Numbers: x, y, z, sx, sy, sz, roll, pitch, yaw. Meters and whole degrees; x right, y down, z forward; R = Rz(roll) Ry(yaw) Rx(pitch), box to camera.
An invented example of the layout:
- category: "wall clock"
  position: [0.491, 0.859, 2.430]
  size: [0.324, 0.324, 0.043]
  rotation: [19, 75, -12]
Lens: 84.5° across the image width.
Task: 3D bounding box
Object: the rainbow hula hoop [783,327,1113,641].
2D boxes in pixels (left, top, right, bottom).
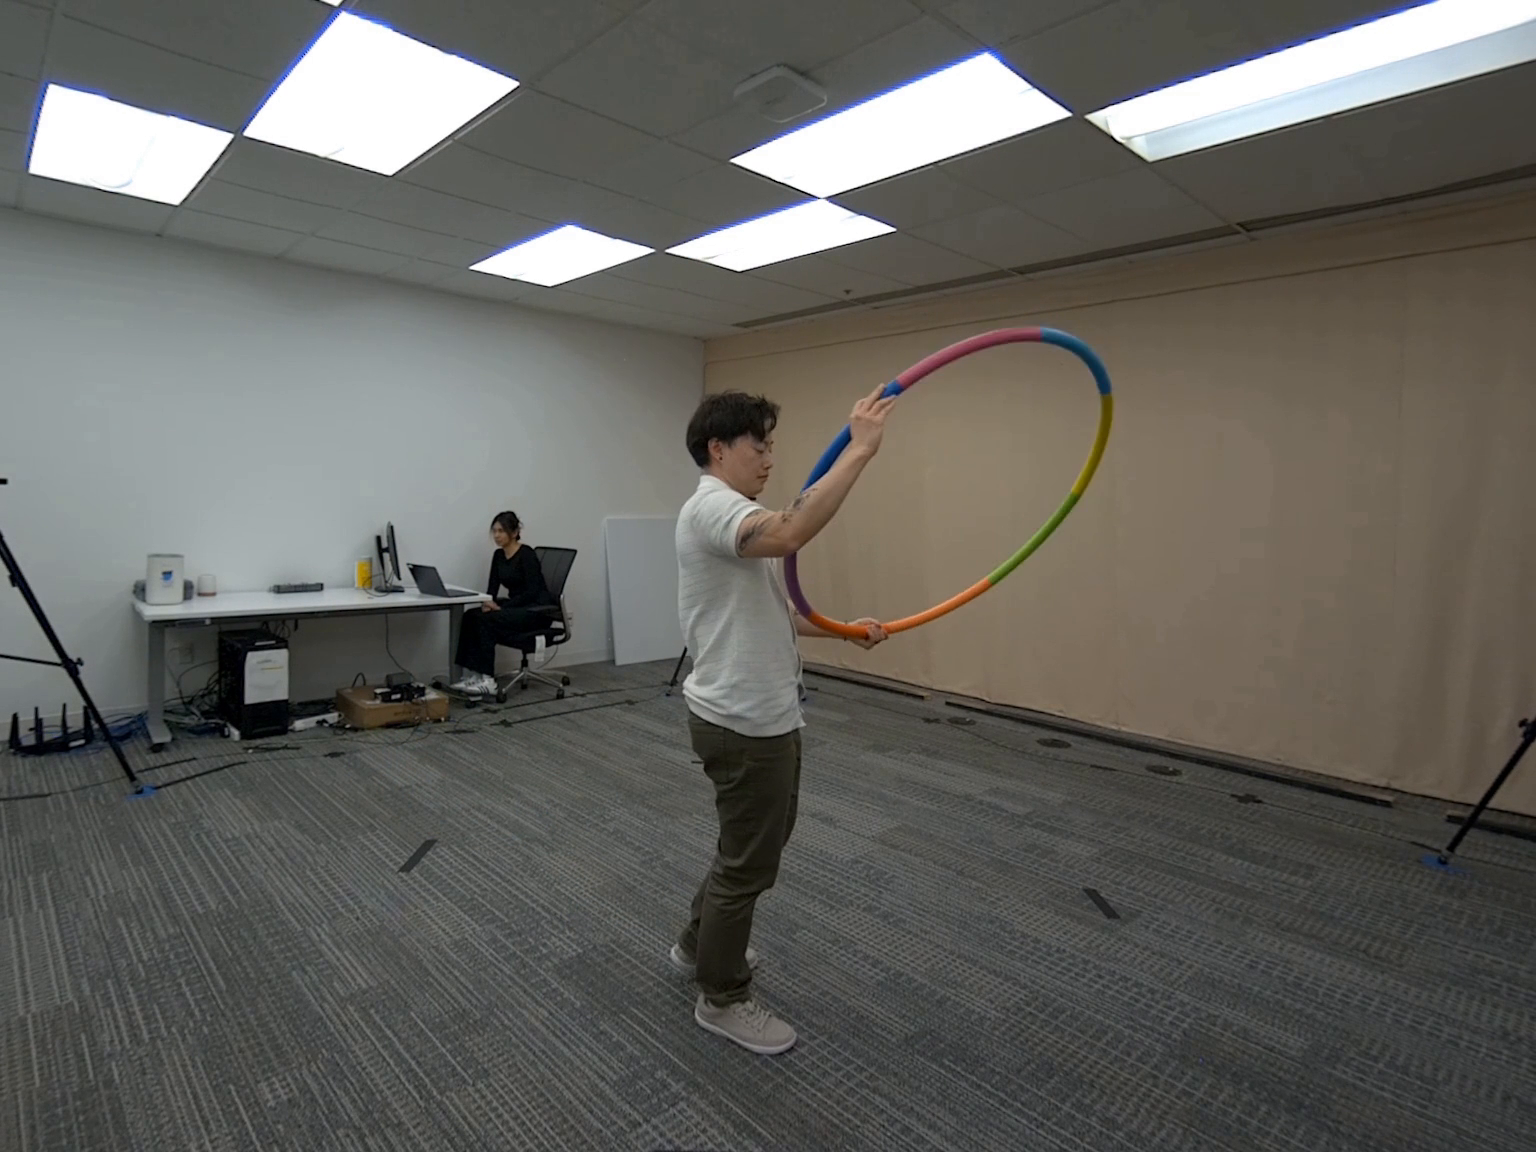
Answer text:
- category: "rainbow hula hoop"
  position: [0.473, -0.193, 2.196]
  size: [0.958, 0.969, 0.036]
  rotation: [-1, 41, -34]
